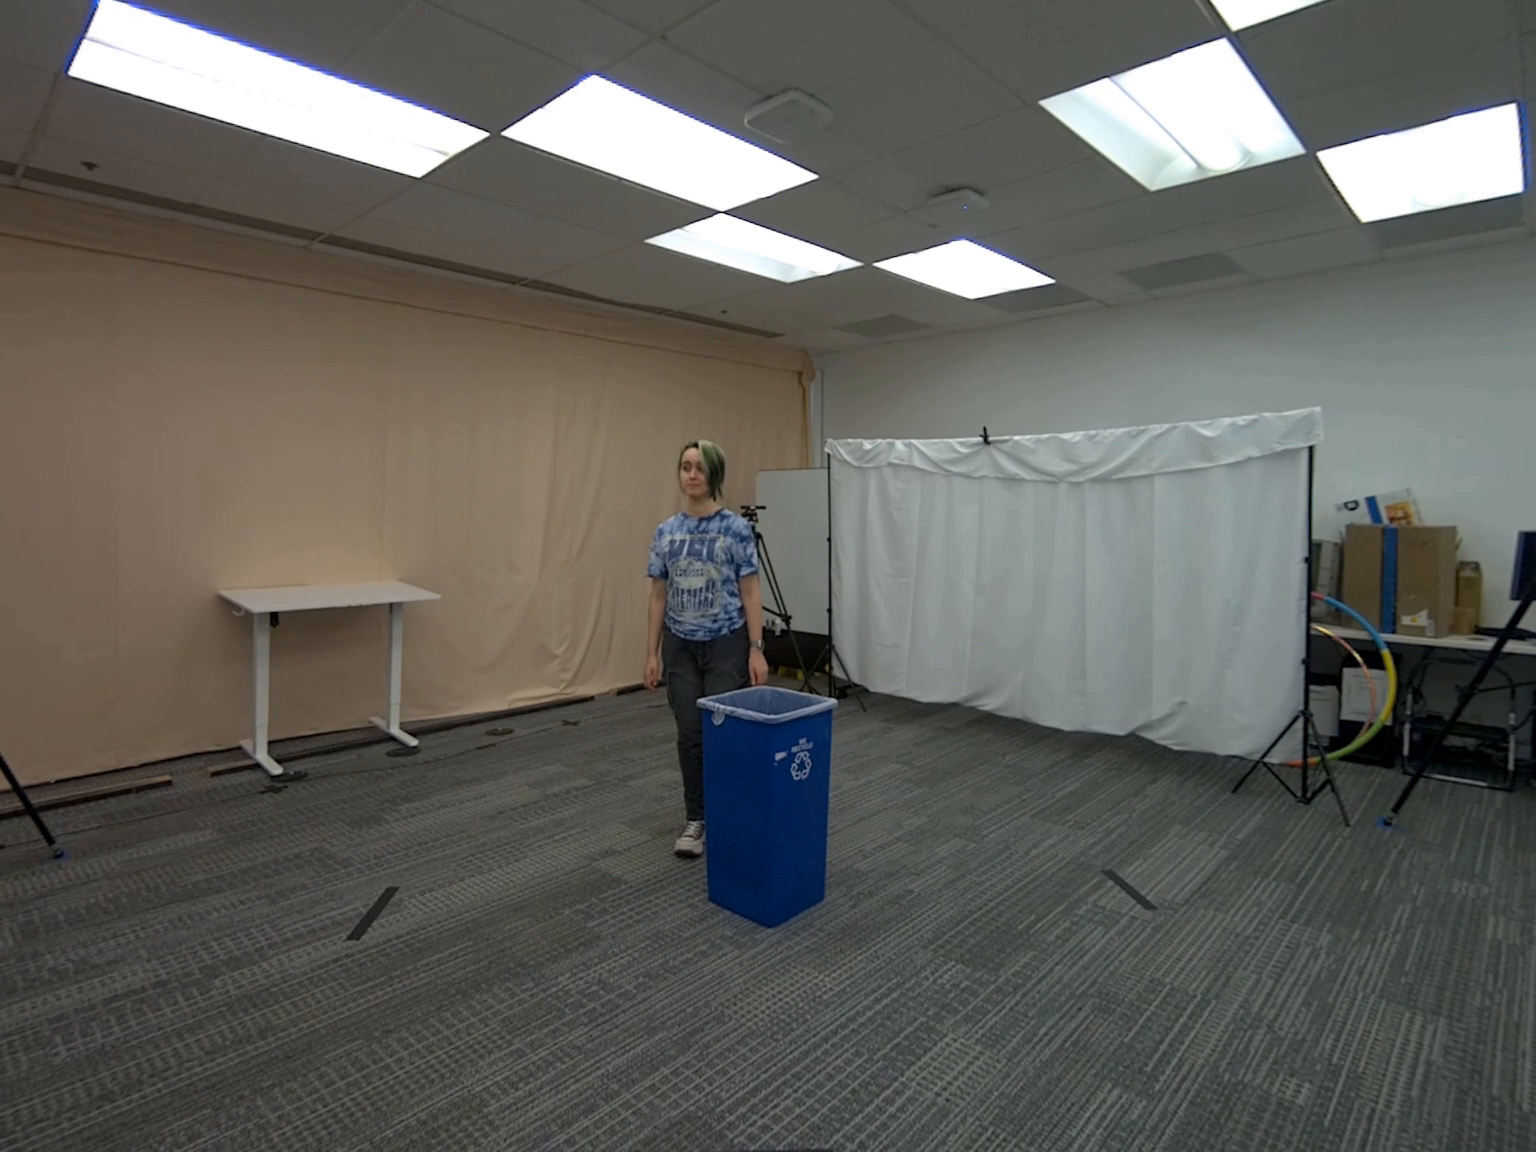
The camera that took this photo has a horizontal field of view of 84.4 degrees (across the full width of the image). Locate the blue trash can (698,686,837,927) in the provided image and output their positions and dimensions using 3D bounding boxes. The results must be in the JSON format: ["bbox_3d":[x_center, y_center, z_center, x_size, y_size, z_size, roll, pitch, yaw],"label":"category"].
[{"bbox_3d":[0.004,0.788,2.962,0.391,0.712,0.362,3,5,42],"label":"blue trash can"}]
